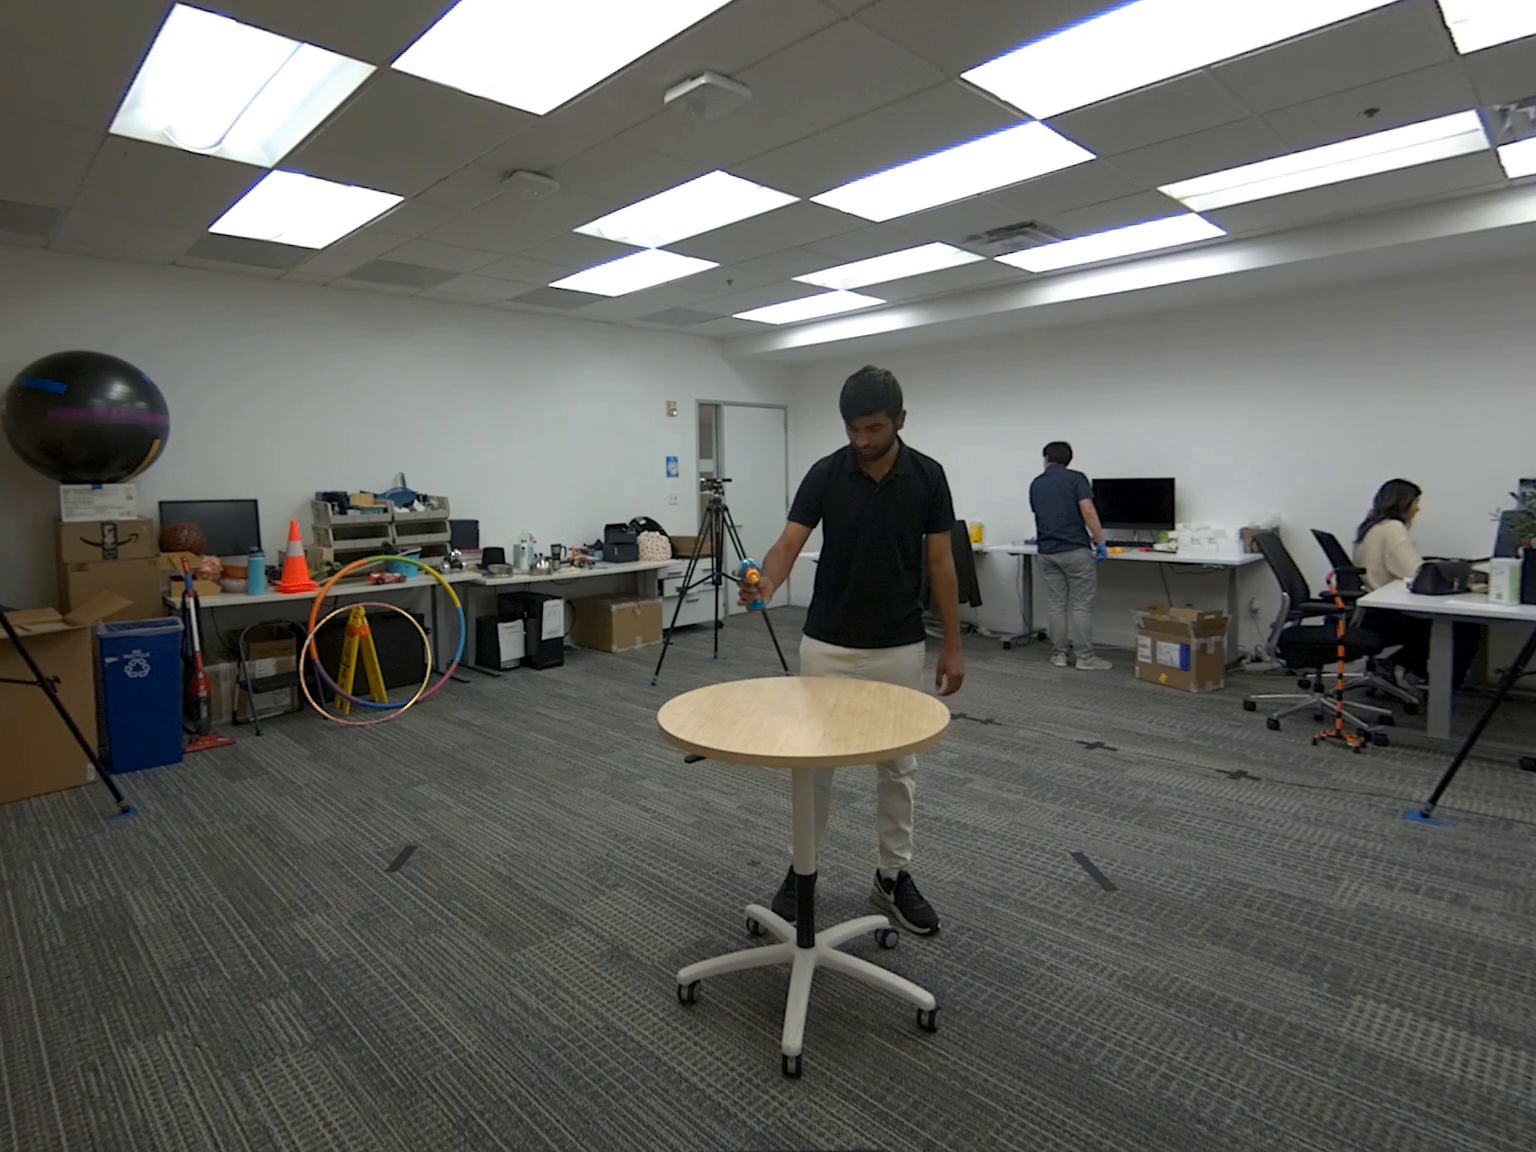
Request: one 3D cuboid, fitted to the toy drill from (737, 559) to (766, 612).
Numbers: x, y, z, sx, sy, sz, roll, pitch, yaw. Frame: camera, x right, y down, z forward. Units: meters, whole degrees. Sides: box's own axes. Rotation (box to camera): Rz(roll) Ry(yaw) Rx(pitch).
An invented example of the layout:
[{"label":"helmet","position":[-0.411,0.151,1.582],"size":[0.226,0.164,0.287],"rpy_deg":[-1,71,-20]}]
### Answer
[{"label":"toy drill","position":[-0.038,0.028,2.289],"size":[0.061,0.144,0.173],"rpy_deg":[-8,14,-8]}]
